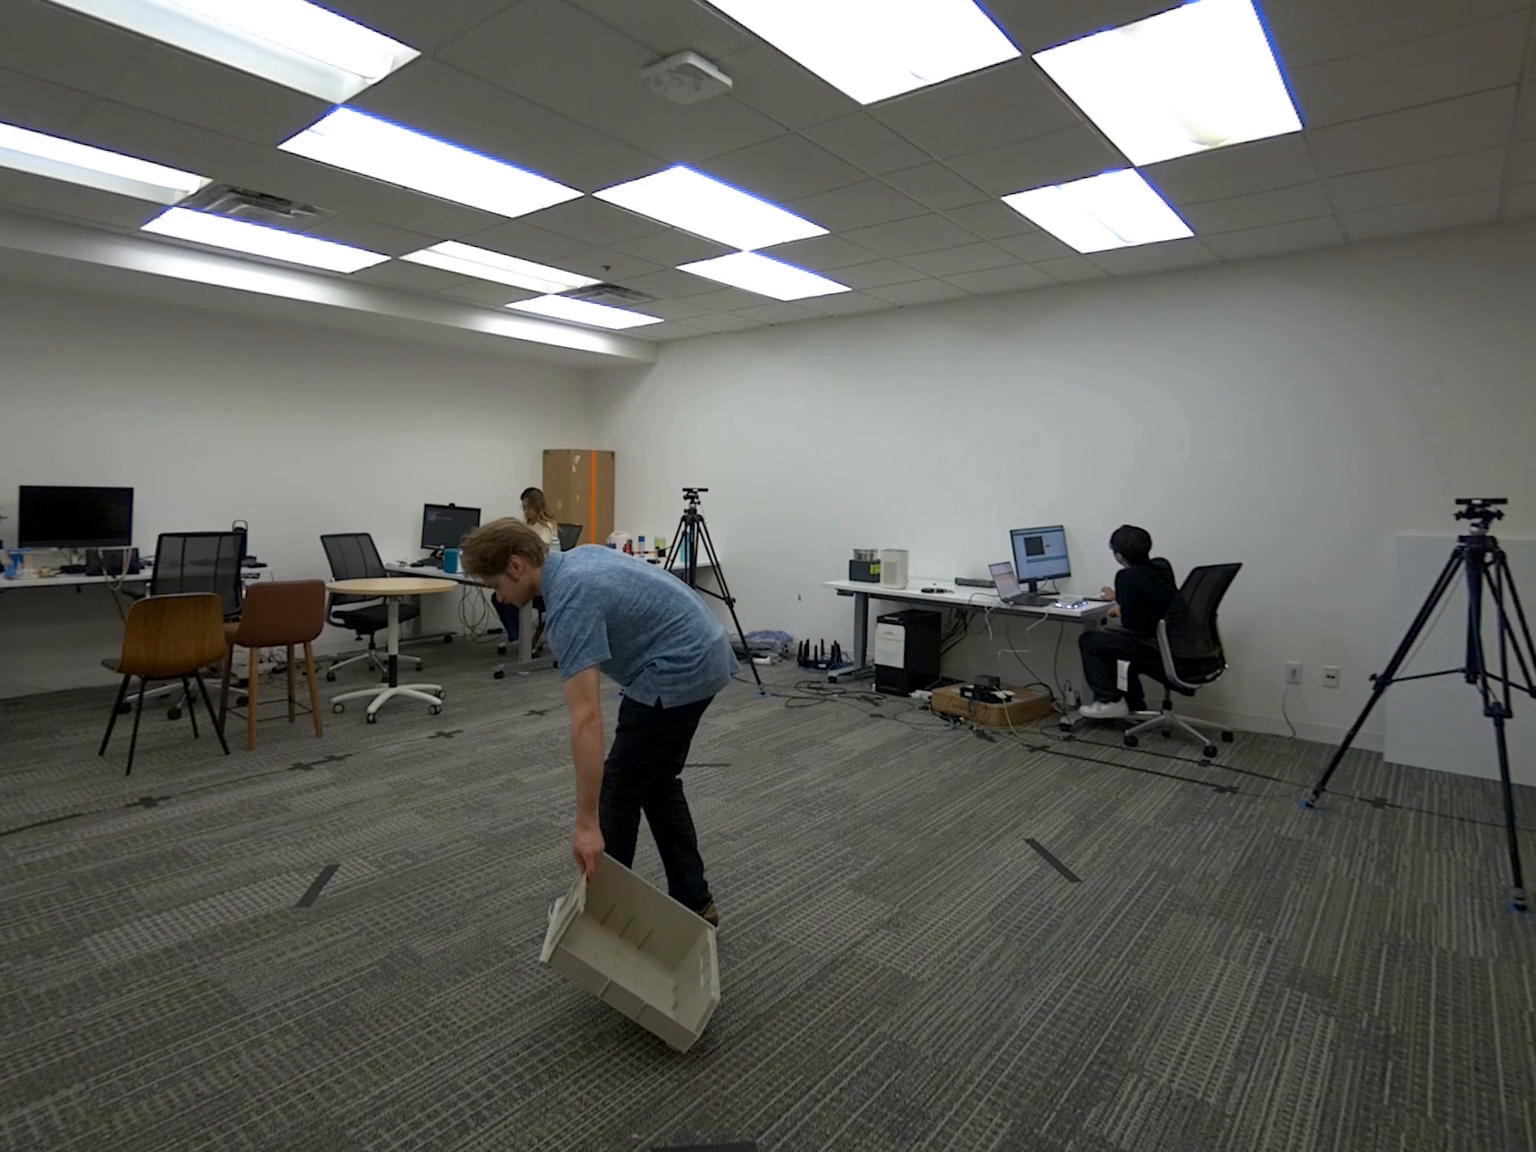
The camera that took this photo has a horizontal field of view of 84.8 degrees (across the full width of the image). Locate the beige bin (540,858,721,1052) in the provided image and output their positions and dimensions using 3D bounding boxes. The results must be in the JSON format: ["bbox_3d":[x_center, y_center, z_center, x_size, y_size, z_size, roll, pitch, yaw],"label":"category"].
[{"bbox_3d":[-0.358,0.970,2.206,0.419,0.189,0.380,34,0,-6],"label":"beige bin"}]
